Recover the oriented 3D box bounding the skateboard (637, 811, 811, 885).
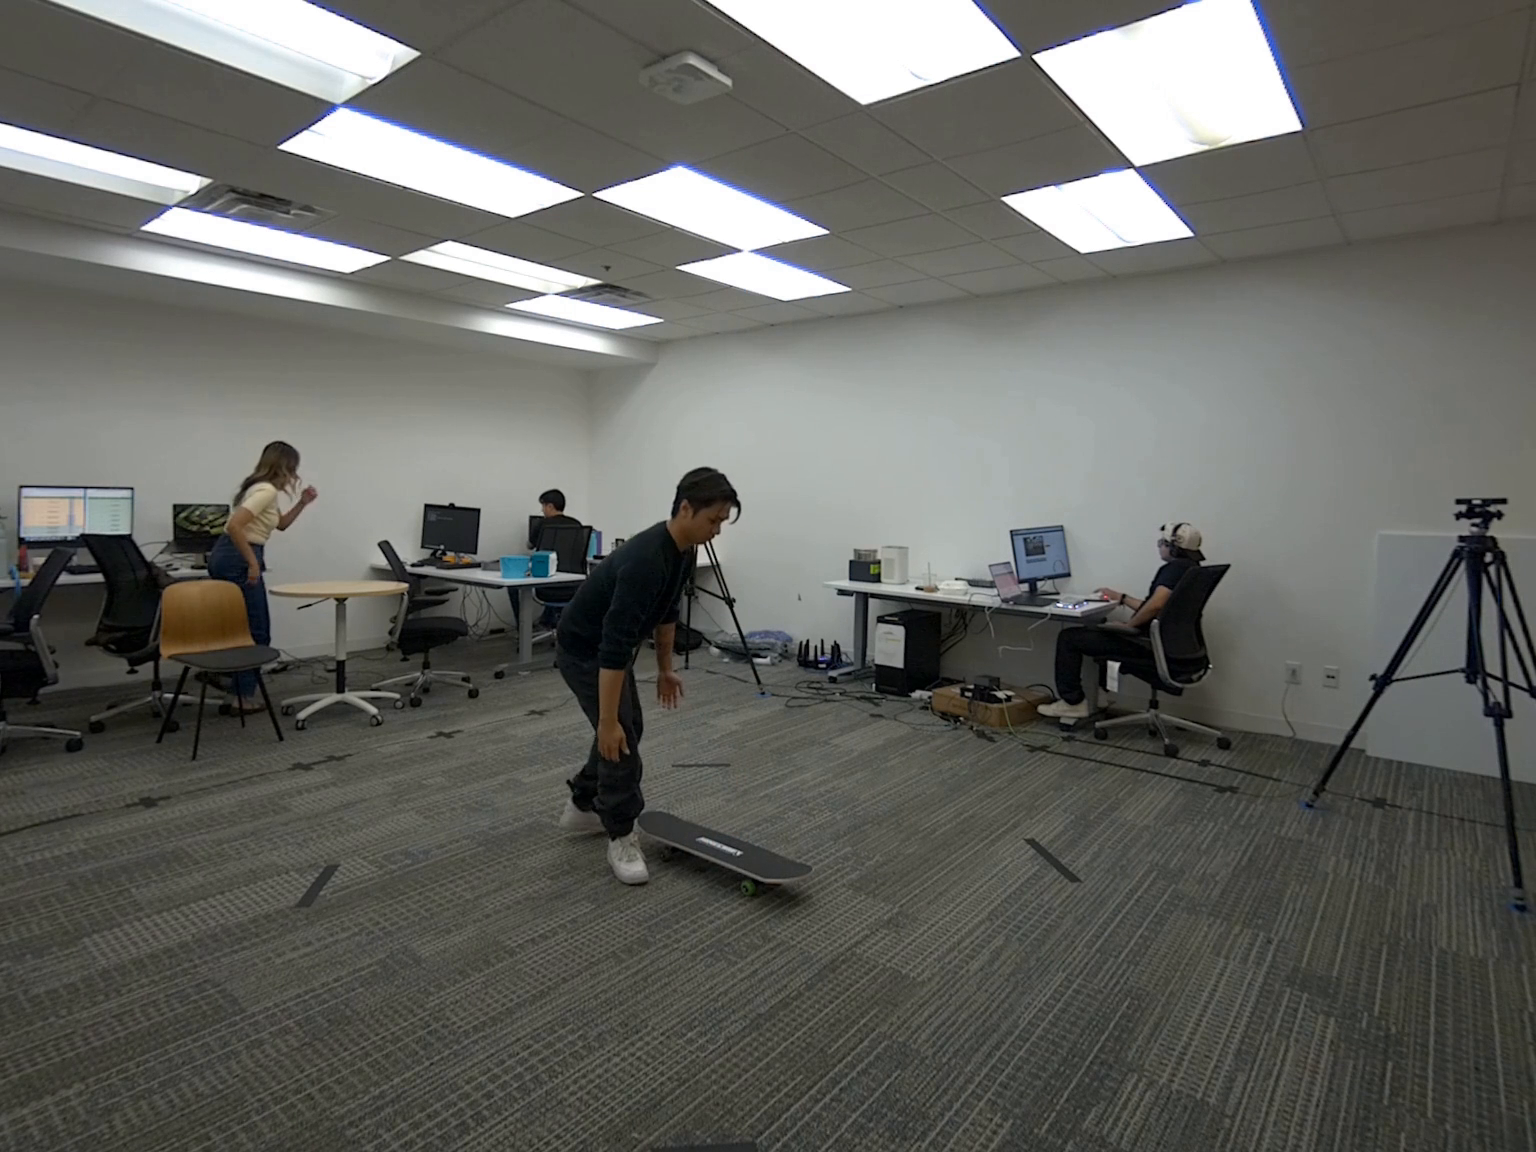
[{"bbox_3d":[-0.186,1.014,3.102,0.812,0.110,0.188,6,7,39],"label":"skateboard"}]
